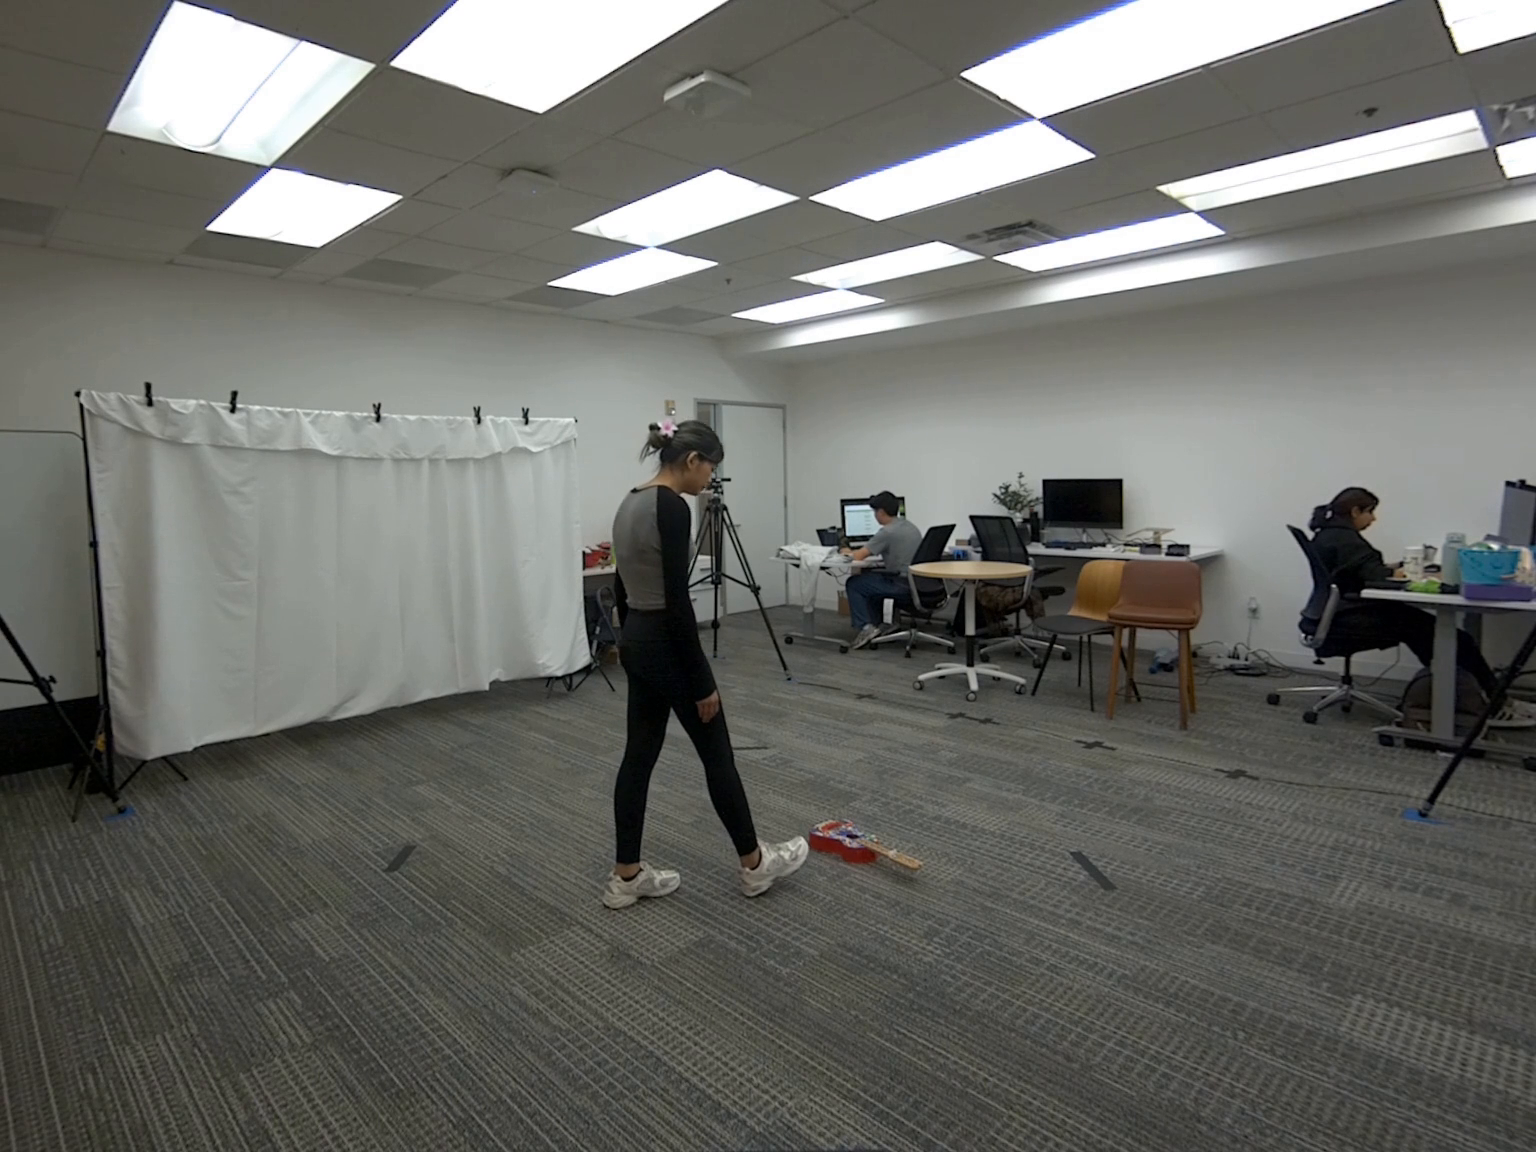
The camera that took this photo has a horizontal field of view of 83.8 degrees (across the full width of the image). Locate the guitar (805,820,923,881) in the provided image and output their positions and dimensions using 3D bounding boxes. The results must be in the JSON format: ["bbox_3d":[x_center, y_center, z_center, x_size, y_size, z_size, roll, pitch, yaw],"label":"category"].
[{"bbox_3d":[0.338,1.000,3.107,0.189,0.070,0.511,-4,6,-28],"label":"guitar"}]
